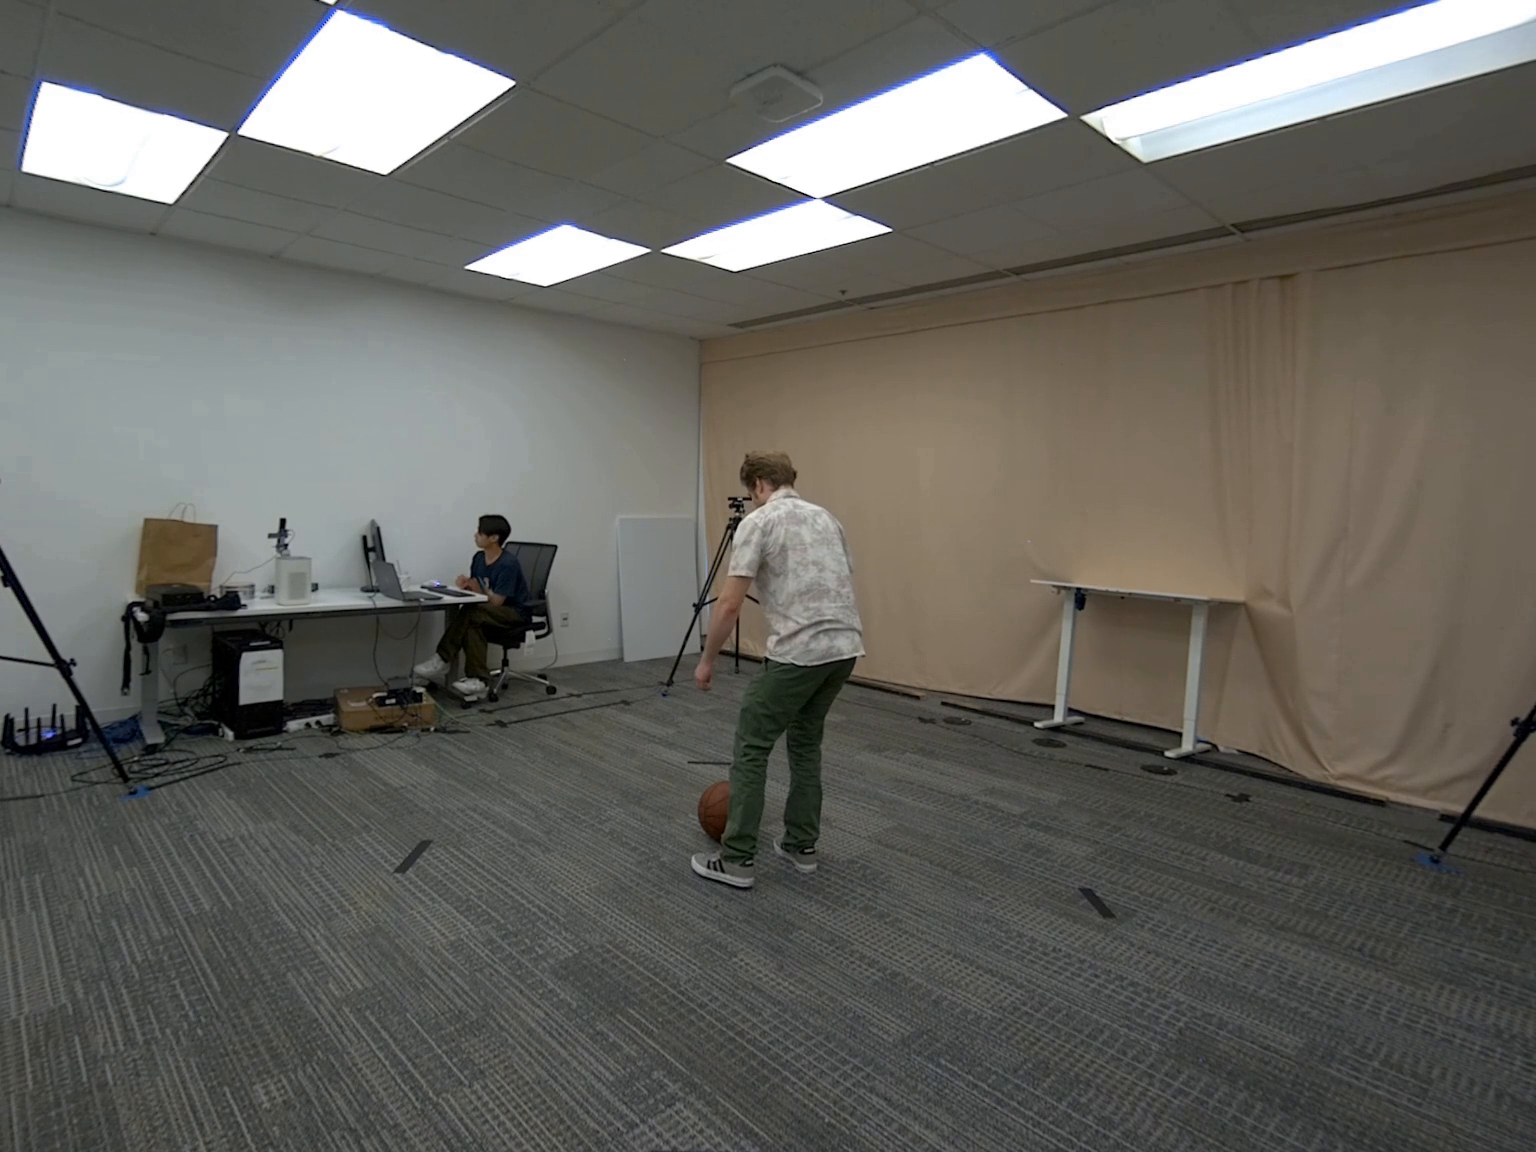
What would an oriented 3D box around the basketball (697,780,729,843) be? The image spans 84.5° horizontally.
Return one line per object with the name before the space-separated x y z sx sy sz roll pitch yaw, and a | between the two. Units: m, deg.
basketball | -0.174 0.953 3.429 0.236 0.235 0.237 1 4 -1
